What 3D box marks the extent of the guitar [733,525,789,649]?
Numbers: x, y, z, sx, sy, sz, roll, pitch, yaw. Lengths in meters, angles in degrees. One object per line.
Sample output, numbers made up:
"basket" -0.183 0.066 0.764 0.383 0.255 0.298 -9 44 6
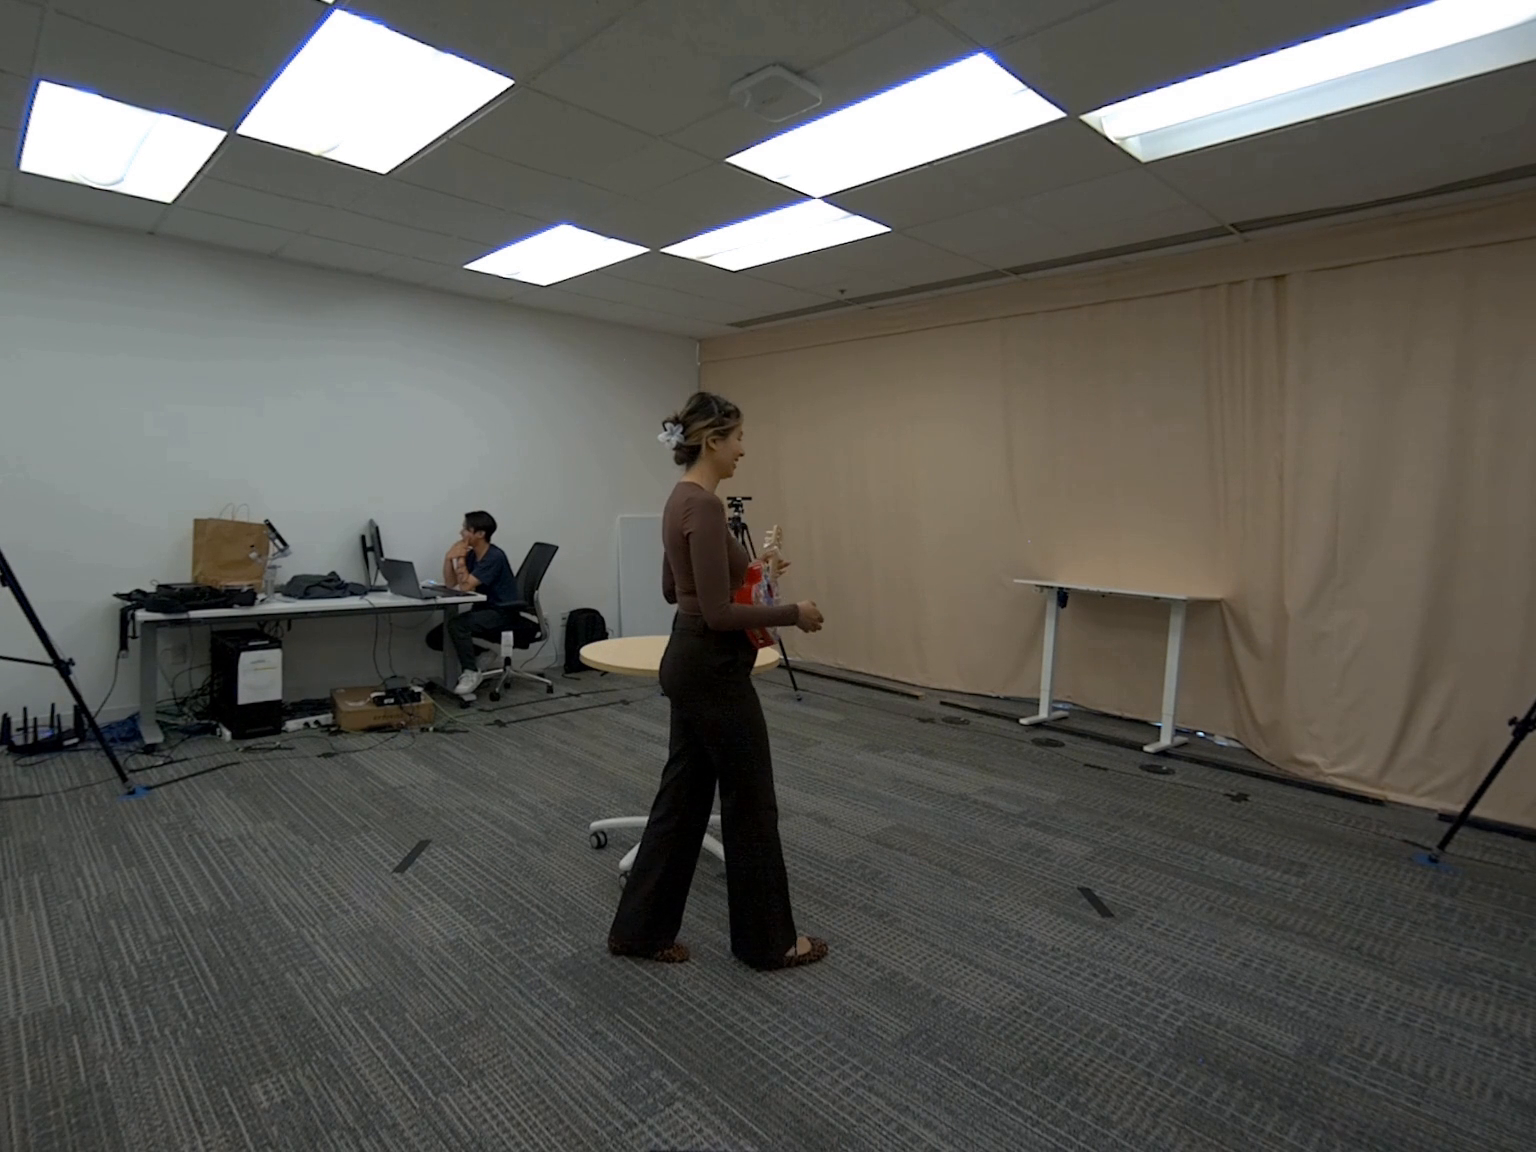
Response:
"guitar" -0.011 0.025 2.594 0.071 0.189 0.503 -15 25 18
